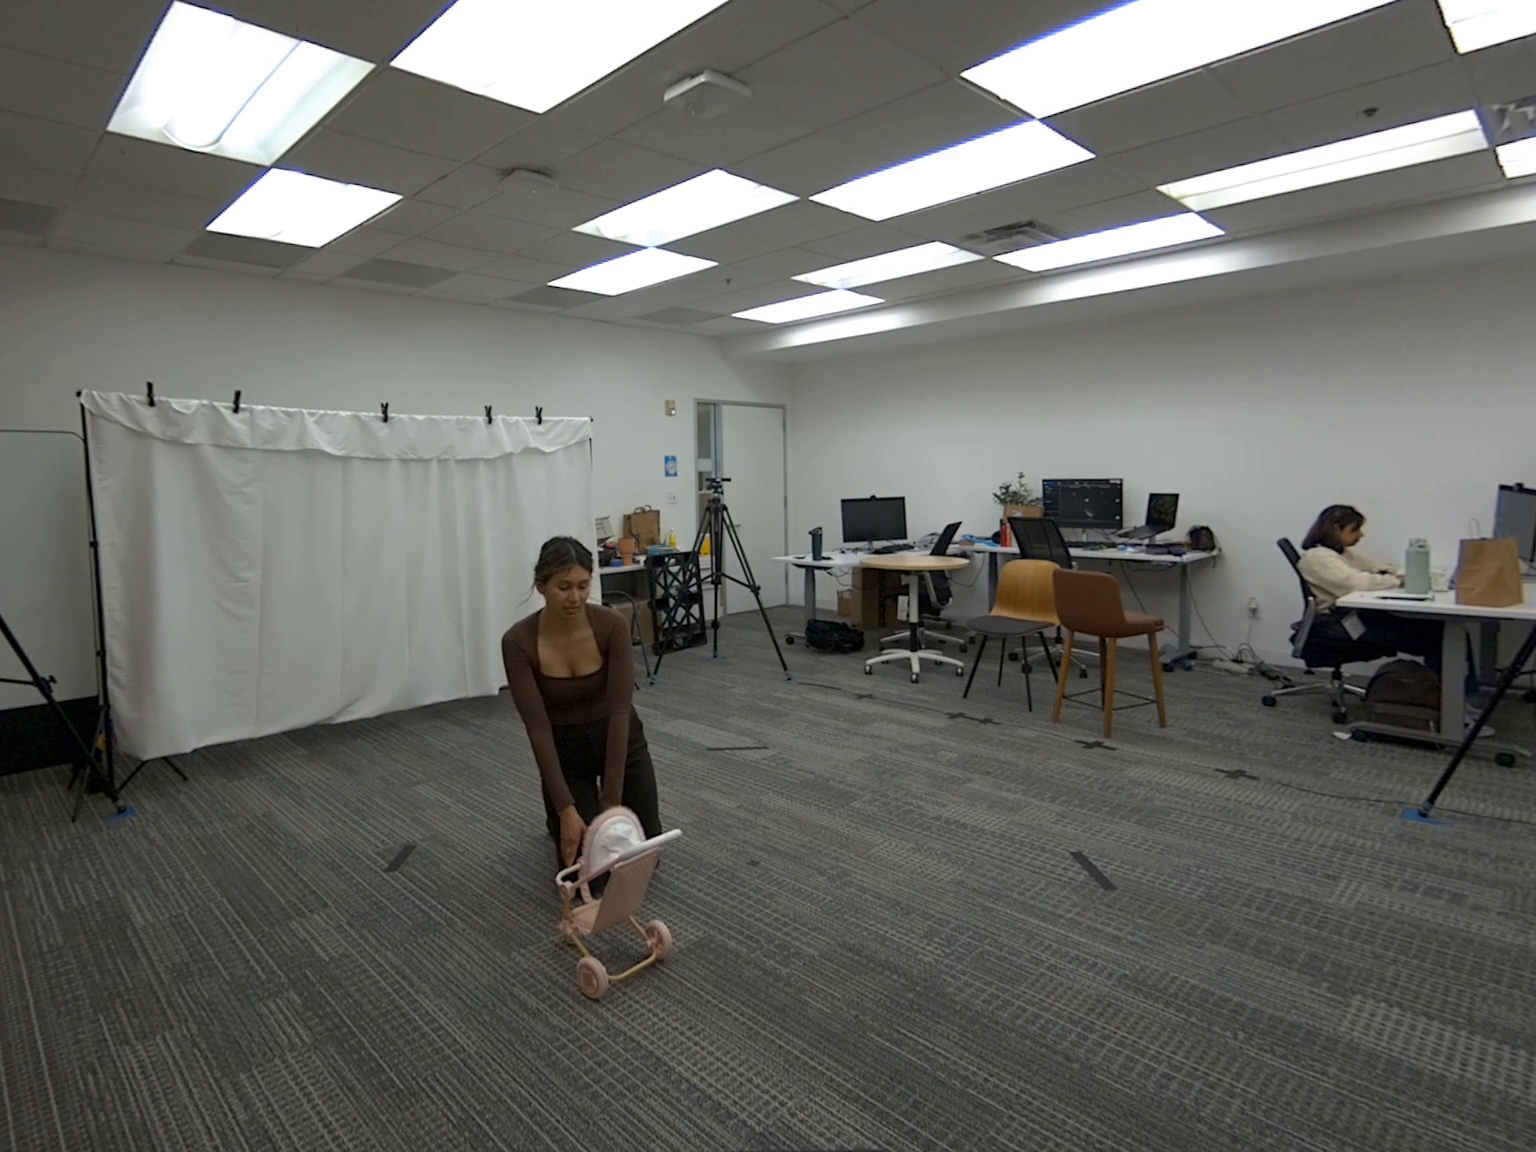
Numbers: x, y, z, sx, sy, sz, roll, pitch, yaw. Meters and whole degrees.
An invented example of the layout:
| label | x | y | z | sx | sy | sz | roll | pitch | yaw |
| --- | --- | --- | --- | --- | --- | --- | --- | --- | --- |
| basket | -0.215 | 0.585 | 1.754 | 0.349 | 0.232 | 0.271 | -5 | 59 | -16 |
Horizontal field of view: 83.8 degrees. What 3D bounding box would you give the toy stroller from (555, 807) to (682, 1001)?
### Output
| label | x | y | z | sx | sy | sz | roll | pitch | yaw |
| --- | --- | --- | --- | --- | --- | --- | --- | --- | --- |
| toy stroller | -0.449 | 0.903 | 2.449 | 0.274 | 0.530 | 0.354 | -4 | 20 | -45 |
